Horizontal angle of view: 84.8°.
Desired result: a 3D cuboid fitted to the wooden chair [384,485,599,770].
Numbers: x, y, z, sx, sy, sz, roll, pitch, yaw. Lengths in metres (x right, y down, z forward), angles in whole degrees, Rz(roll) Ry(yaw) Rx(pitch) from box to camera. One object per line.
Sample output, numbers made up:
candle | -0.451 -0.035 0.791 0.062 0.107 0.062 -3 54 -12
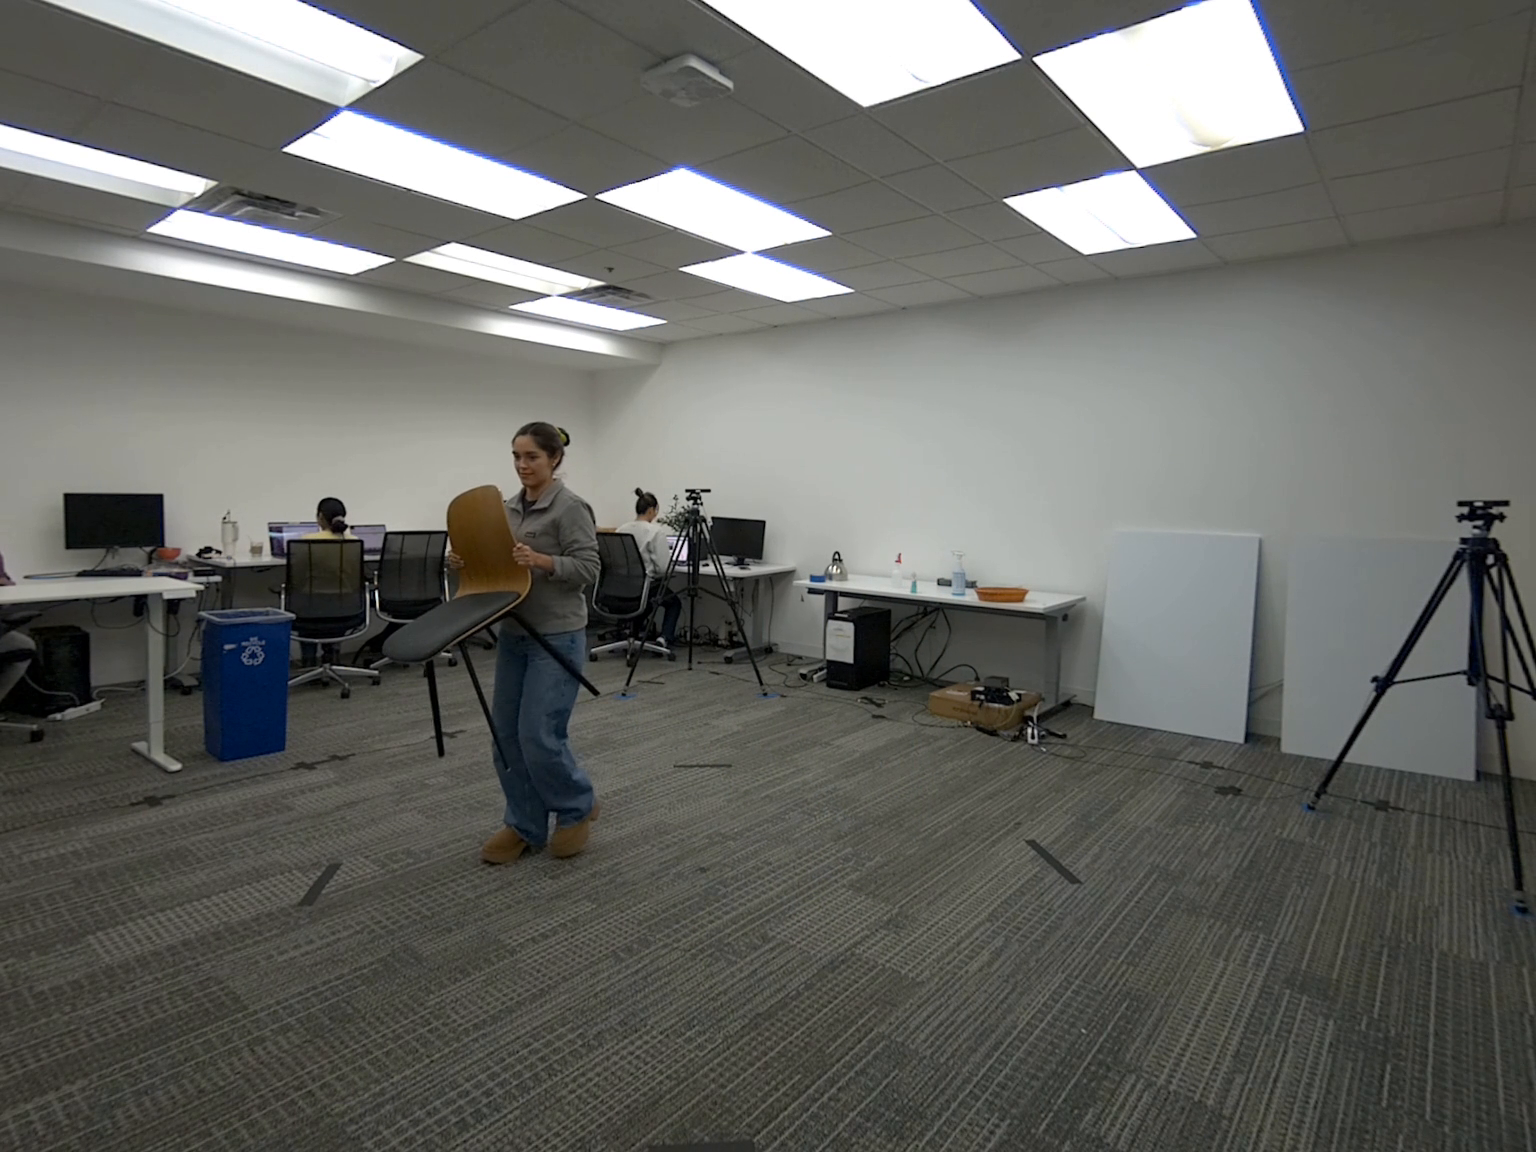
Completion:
wooden chair | -1.066 0.178 2.995 0.492 0.863 0.517 -4 19 42
